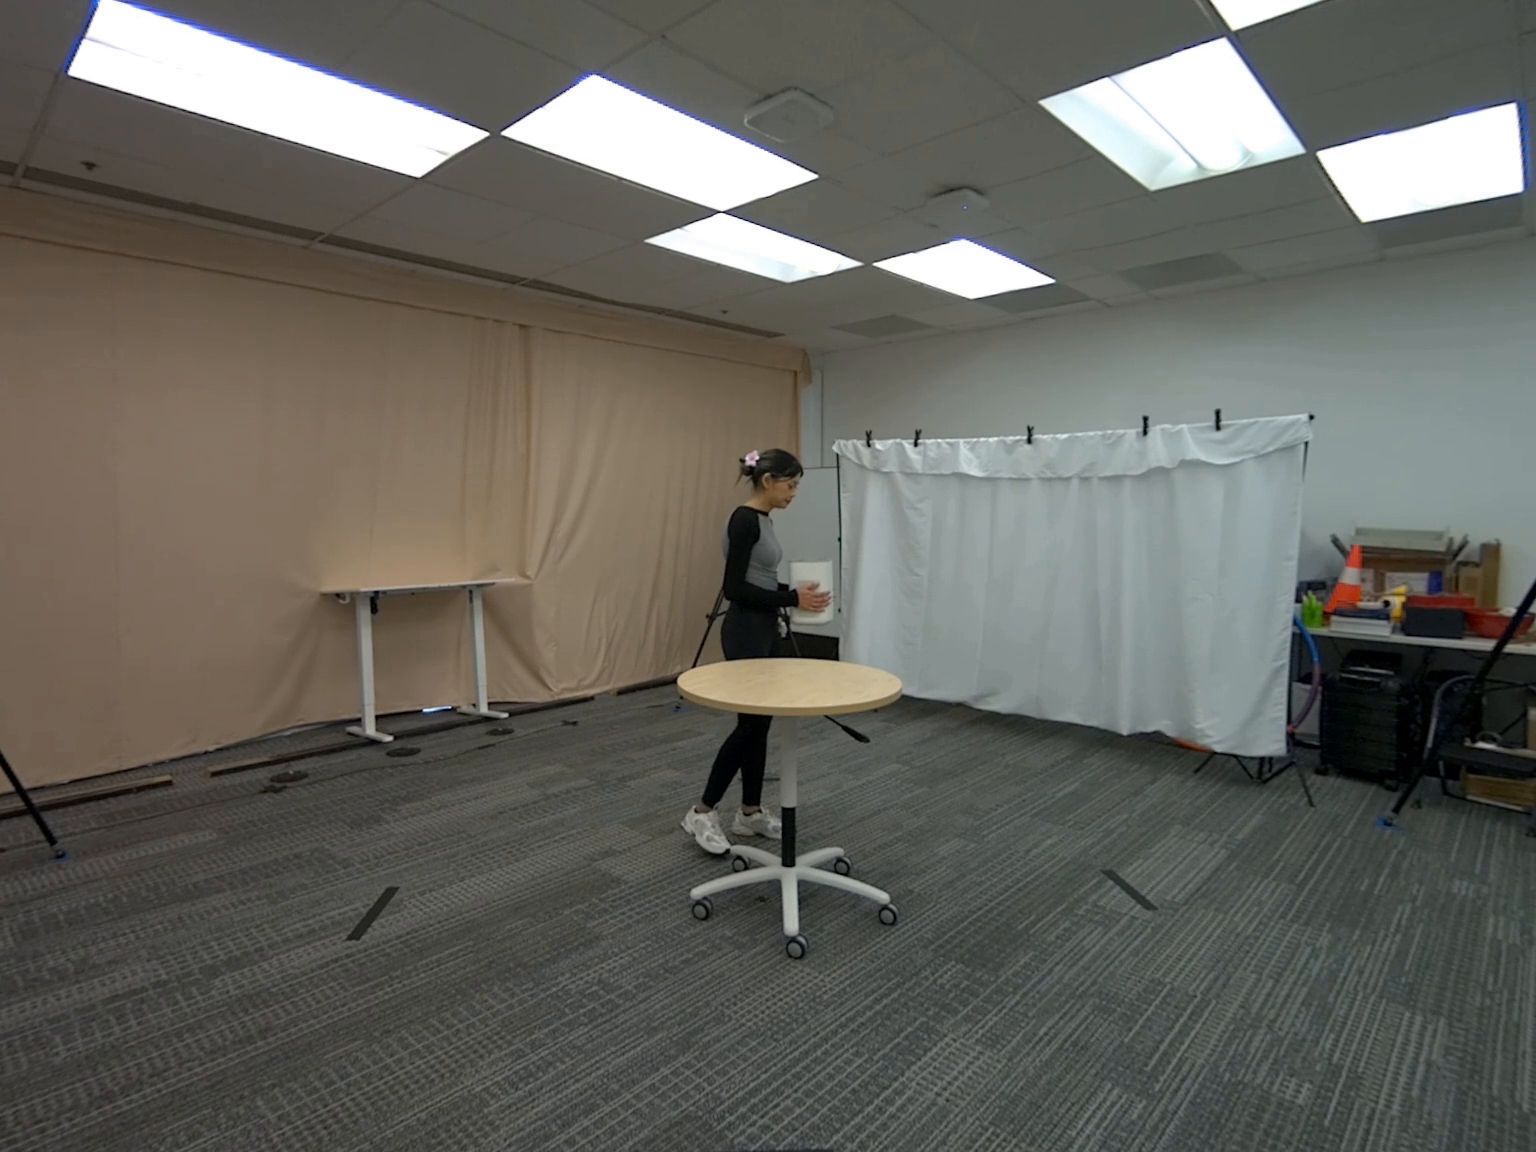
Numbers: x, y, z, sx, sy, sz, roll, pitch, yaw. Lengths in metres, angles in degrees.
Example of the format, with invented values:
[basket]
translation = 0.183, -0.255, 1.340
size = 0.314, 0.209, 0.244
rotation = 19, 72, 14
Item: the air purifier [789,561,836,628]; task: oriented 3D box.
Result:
[air purifier]
translation = 0.176, 0.064, 3.464
size = 0.172, 0.264, 0.171
rotation = -3, 5, 4
